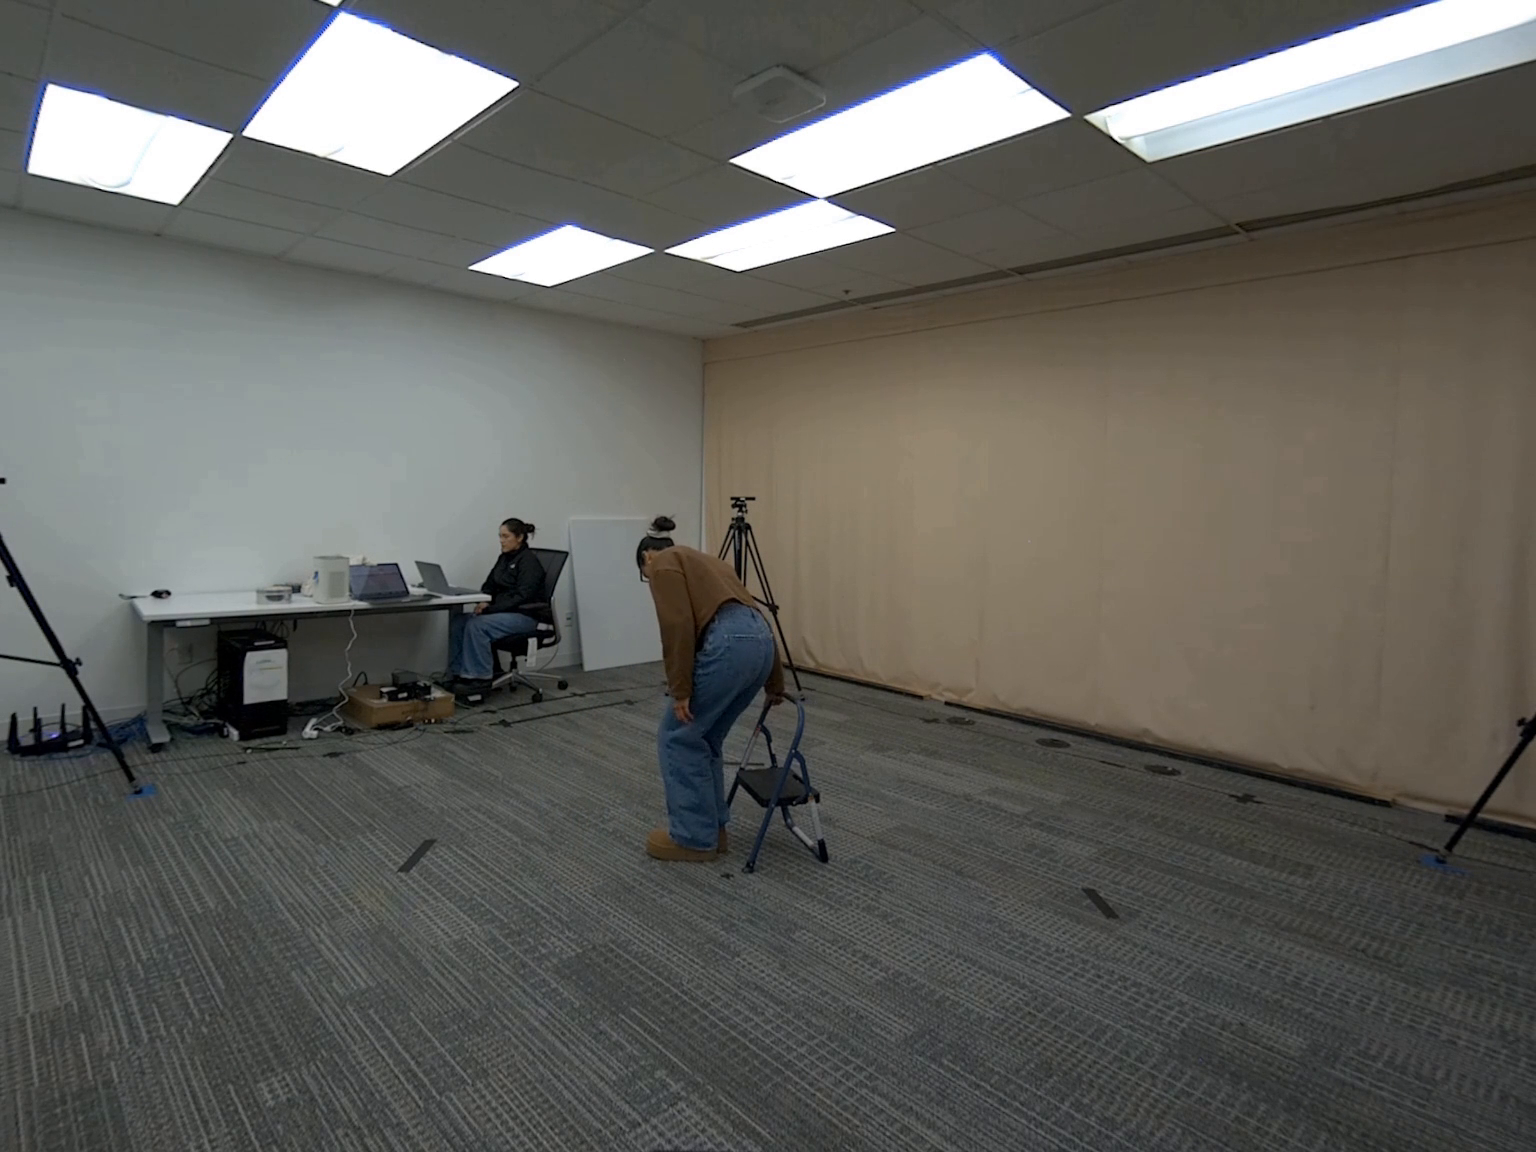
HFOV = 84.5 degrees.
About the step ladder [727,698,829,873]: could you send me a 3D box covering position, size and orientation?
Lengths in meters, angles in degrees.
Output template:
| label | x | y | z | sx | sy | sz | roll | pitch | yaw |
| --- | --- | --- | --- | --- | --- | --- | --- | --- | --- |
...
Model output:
| label | x | y | z | sx | sy | sz | roll | pitch | yaw |
| --- | --- | --- | --- | --- | --- | --- | --- | --- | --- |
| step ladder | 0.001 | 0.788 | 3.365 | 0.344 | 0.605 | 0.438 | 0 | 4 | -20 |
